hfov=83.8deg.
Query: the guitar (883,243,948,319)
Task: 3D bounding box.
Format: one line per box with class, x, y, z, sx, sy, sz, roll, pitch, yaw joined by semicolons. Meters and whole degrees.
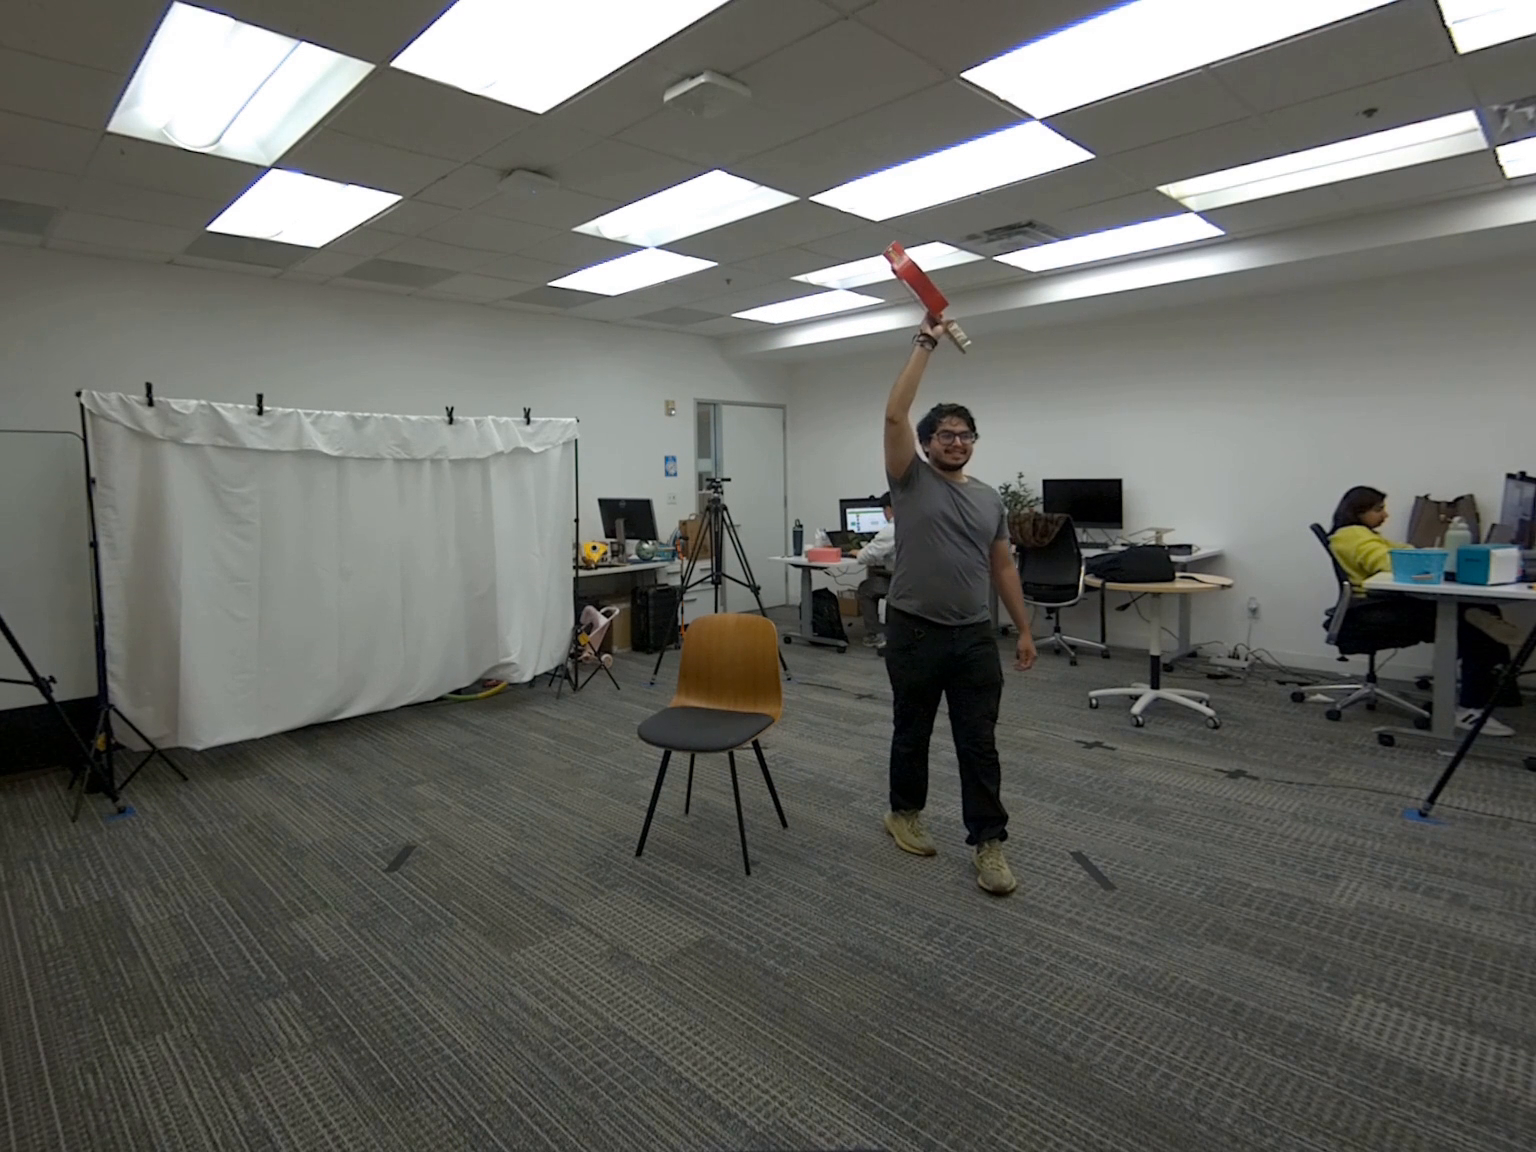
guitar;0.539;-0.920;2.829;0.071;0.200;0.479;-40;-38;18
